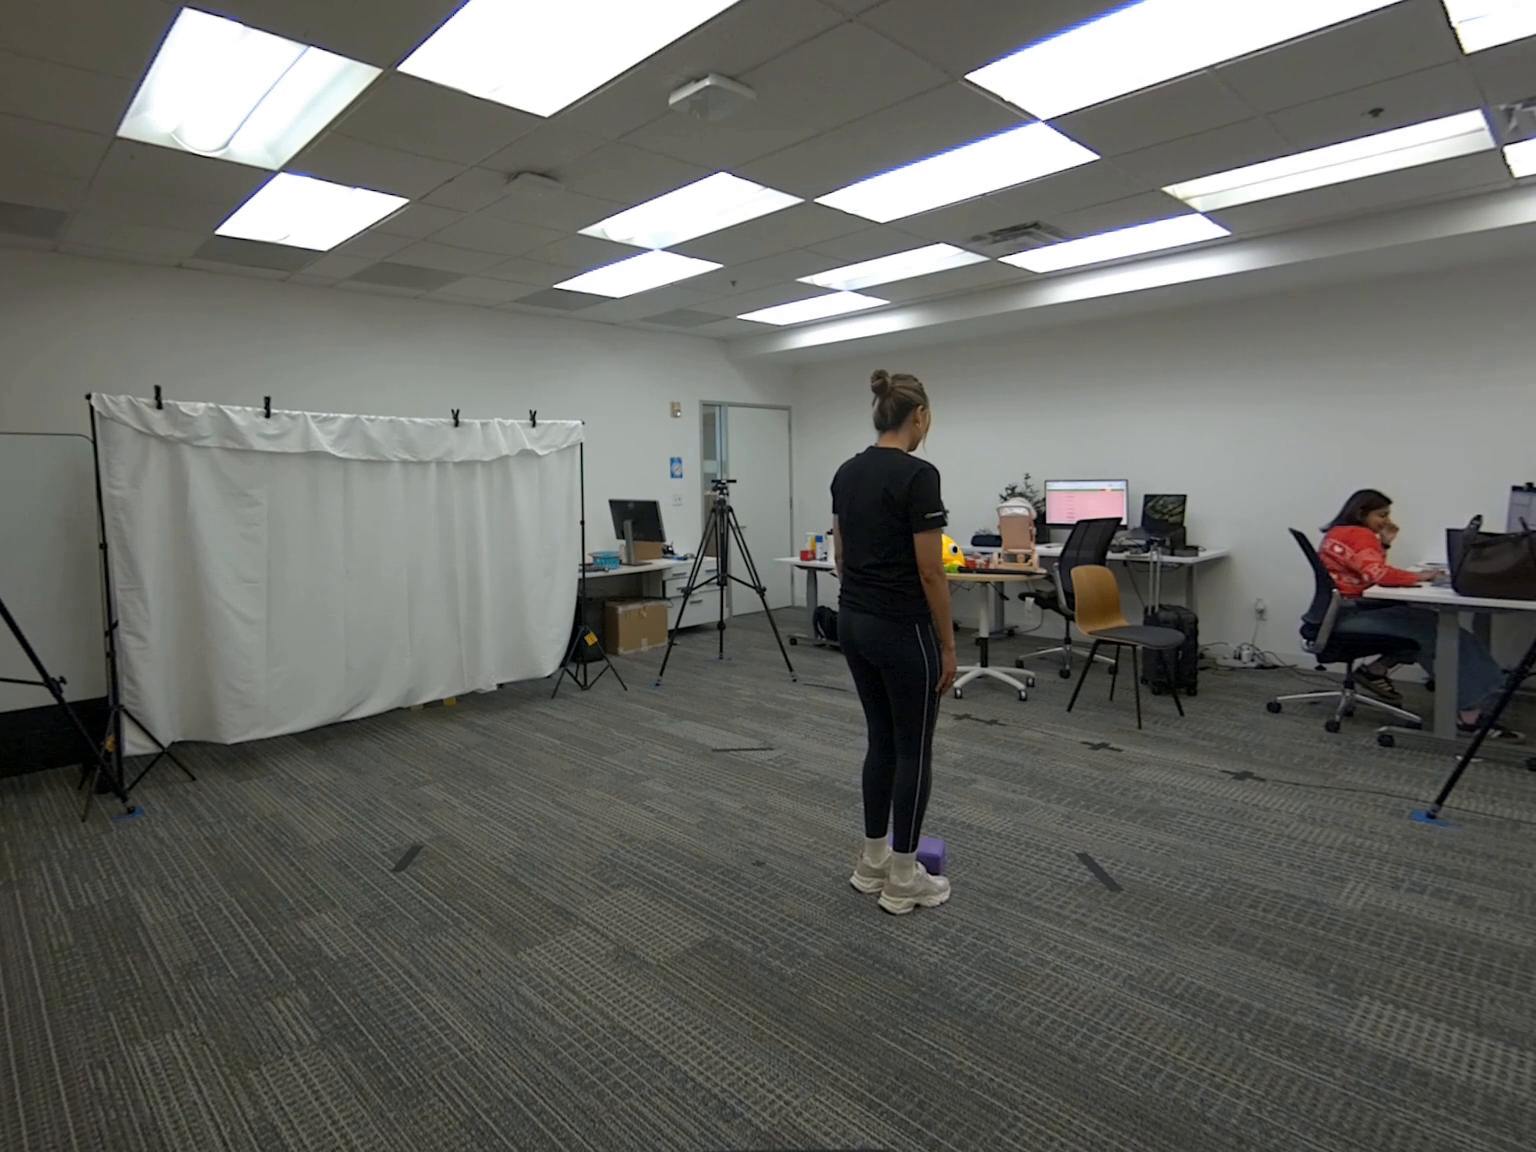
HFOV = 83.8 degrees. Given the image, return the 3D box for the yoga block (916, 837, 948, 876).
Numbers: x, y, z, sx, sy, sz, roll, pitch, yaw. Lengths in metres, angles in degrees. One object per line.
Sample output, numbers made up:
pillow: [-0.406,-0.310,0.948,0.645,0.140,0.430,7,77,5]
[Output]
yoga block: [0.519,0.998,3.083,0.234,0.076,0.147,0,6,21]
